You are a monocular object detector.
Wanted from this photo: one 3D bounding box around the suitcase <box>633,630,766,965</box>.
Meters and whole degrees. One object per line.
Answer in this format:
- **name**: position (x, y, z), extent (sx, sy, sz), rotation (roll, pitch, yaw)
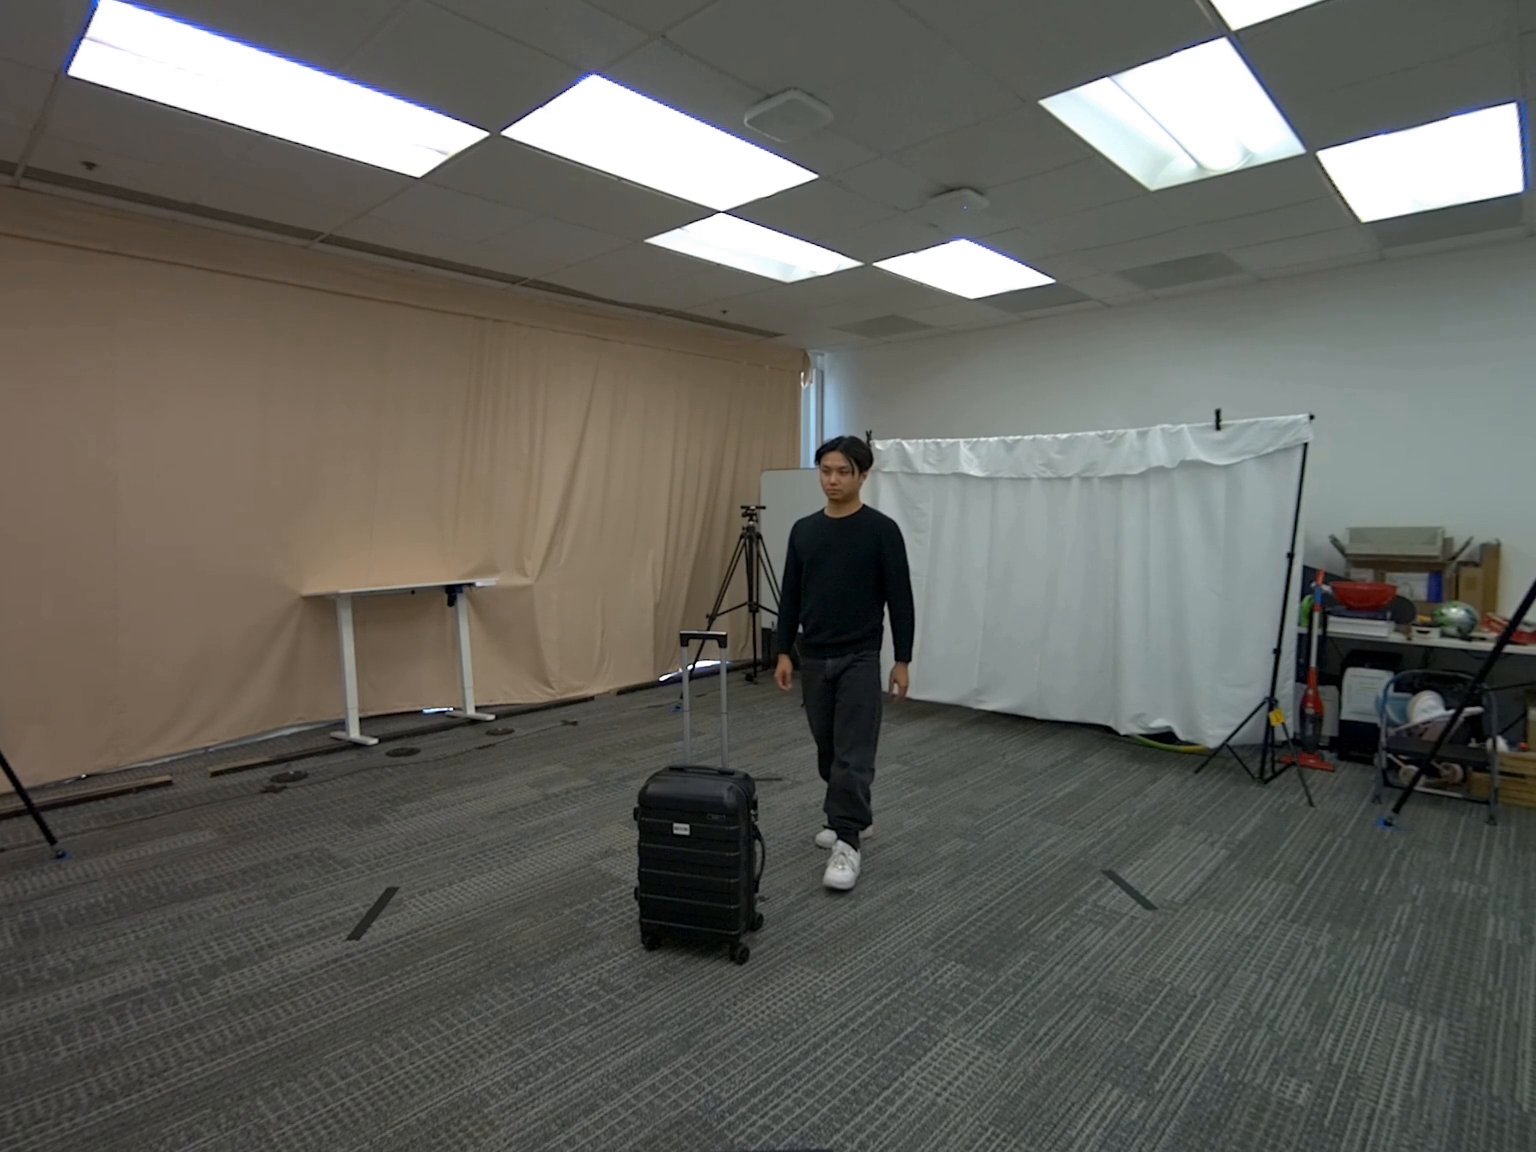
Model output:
- **suitcase**: position (-0.222, 0.696, 2.664), extent (0.390, 0.974, 0.254), rotation (-1, 6, 14)
